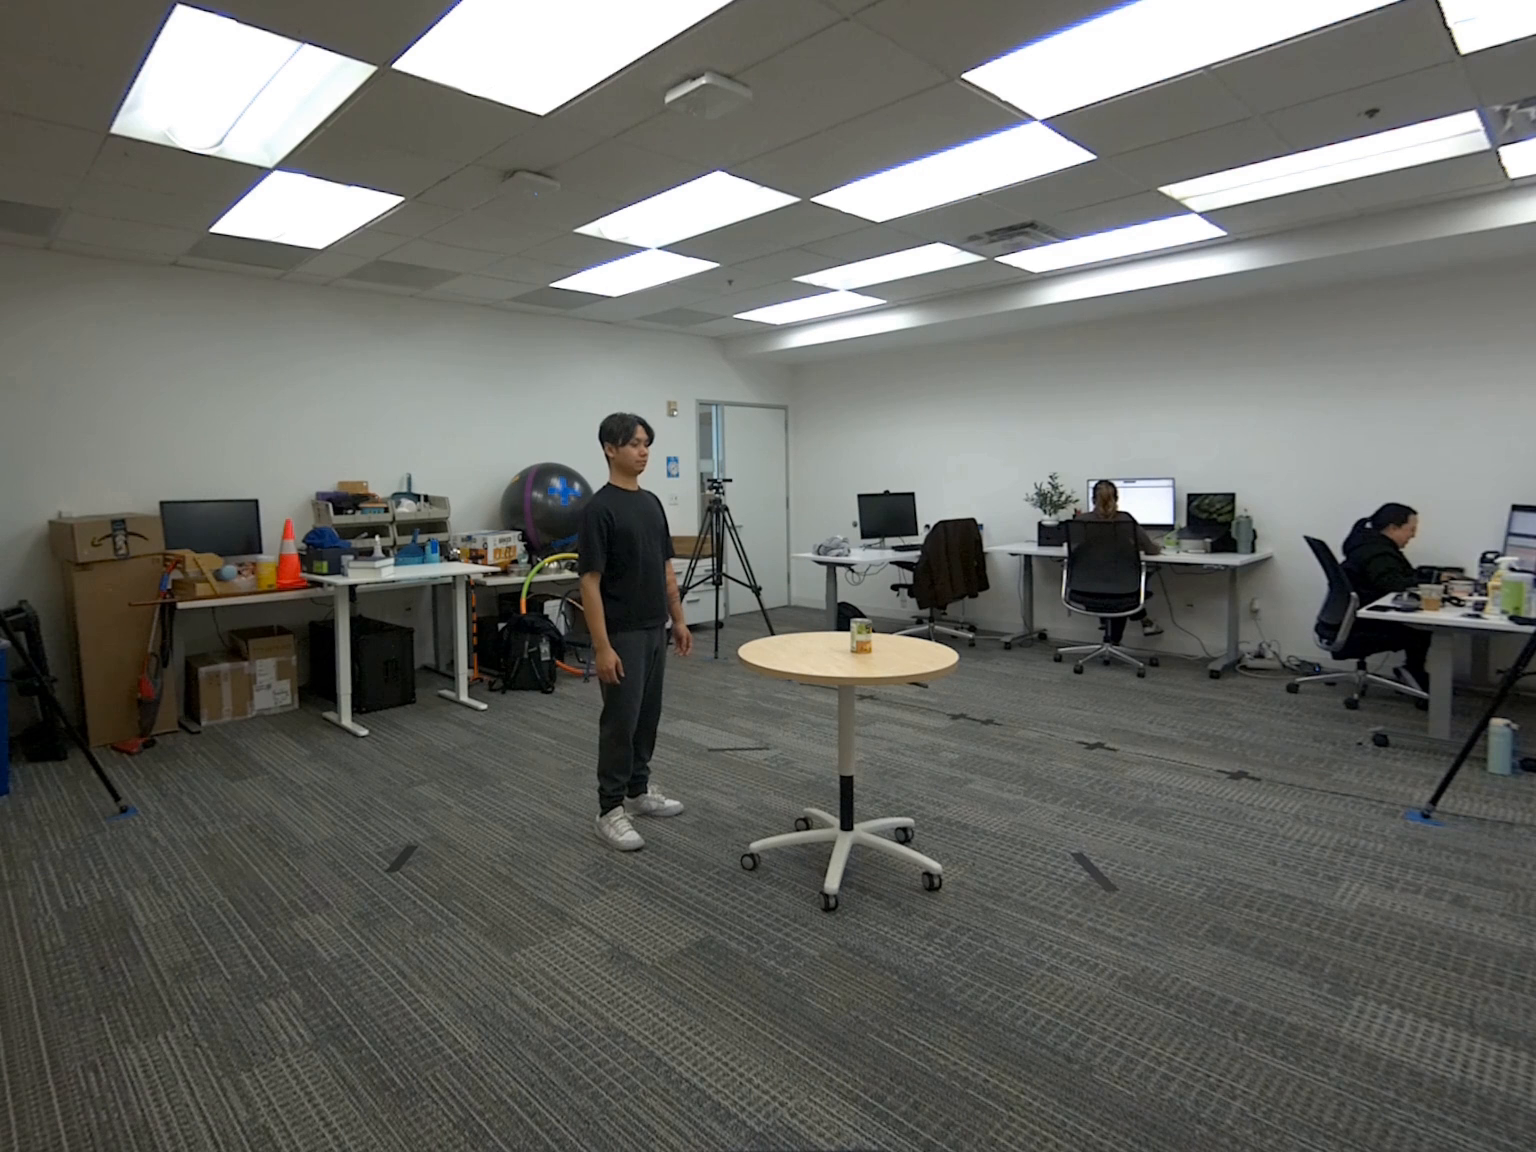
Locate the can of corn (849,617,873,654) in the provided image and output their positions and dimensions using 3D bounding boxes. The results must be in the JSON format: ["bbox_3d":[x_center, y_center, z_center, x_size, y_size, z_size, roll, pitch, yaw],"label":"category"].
[{"bbox_3d":[0.341,0.214,3.006,0.074,0.110,0.075,2,7,-2],"label":"can of corn"}]
